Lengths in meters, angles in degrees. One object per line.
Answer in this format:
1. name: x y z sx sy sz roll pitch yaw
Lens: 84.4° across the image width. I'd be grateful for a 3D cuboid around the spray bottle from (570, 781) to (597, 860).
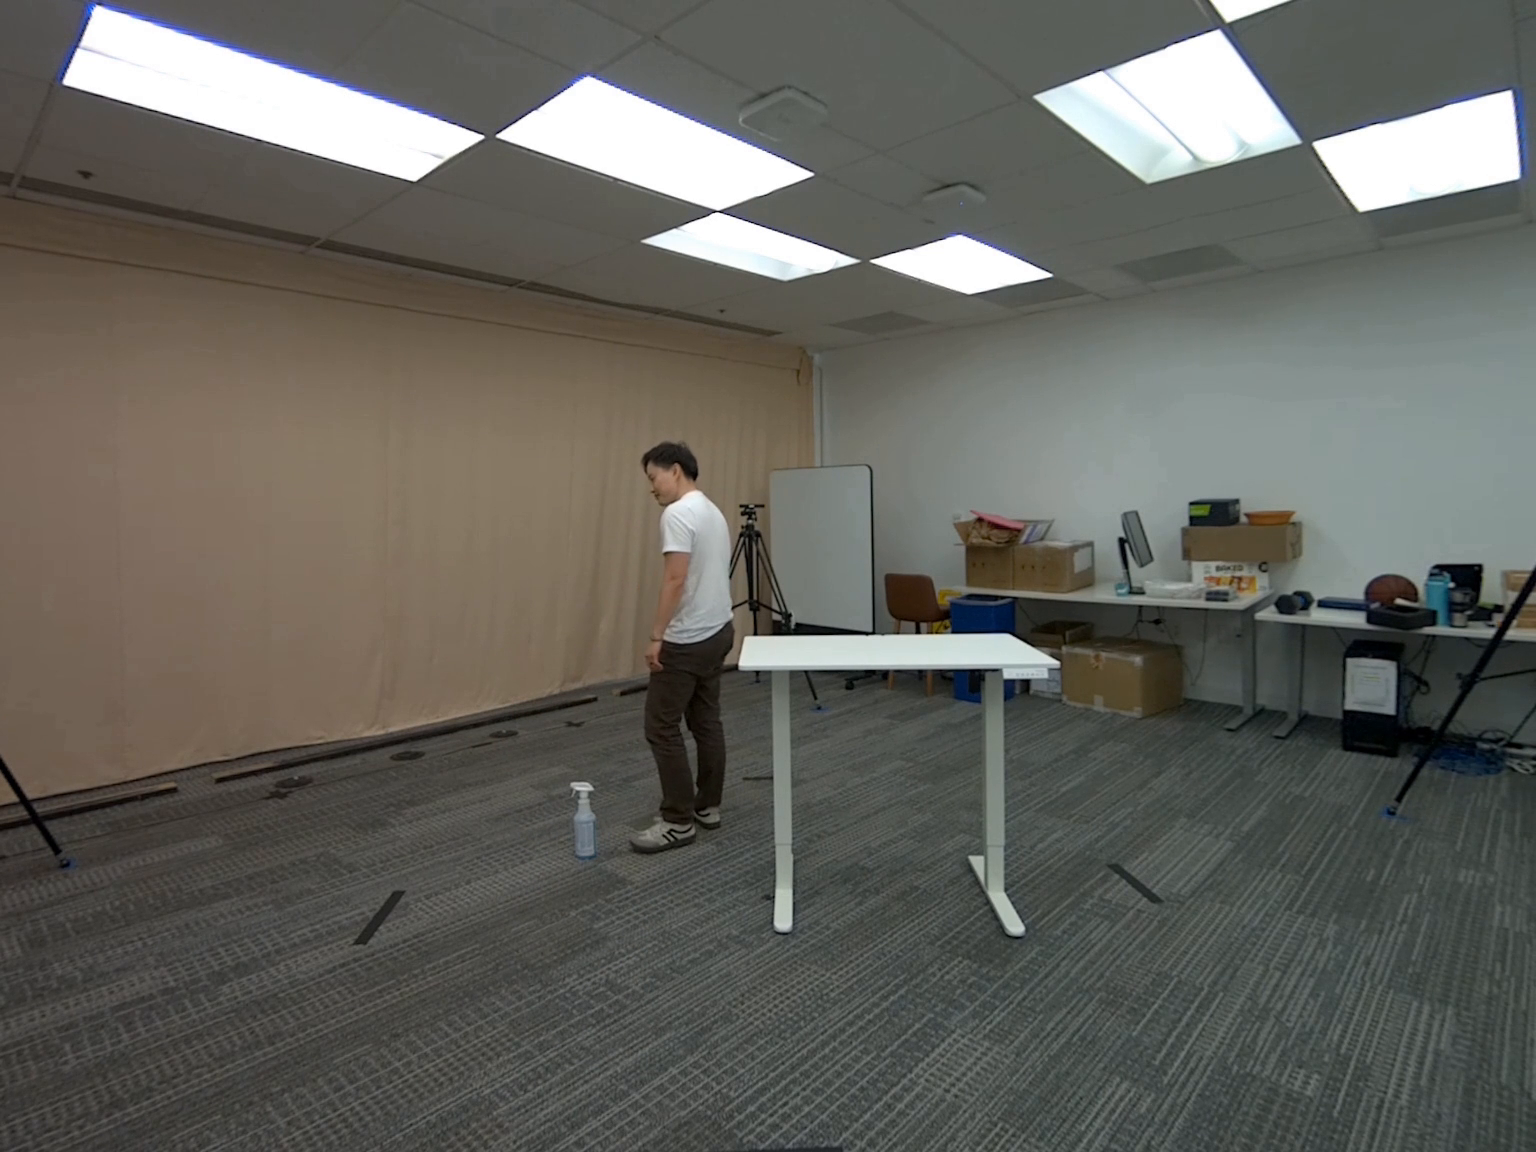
1. spray bottle: -0.741 0.981 3.380 0.092 0.296 0.085 0 4 21
